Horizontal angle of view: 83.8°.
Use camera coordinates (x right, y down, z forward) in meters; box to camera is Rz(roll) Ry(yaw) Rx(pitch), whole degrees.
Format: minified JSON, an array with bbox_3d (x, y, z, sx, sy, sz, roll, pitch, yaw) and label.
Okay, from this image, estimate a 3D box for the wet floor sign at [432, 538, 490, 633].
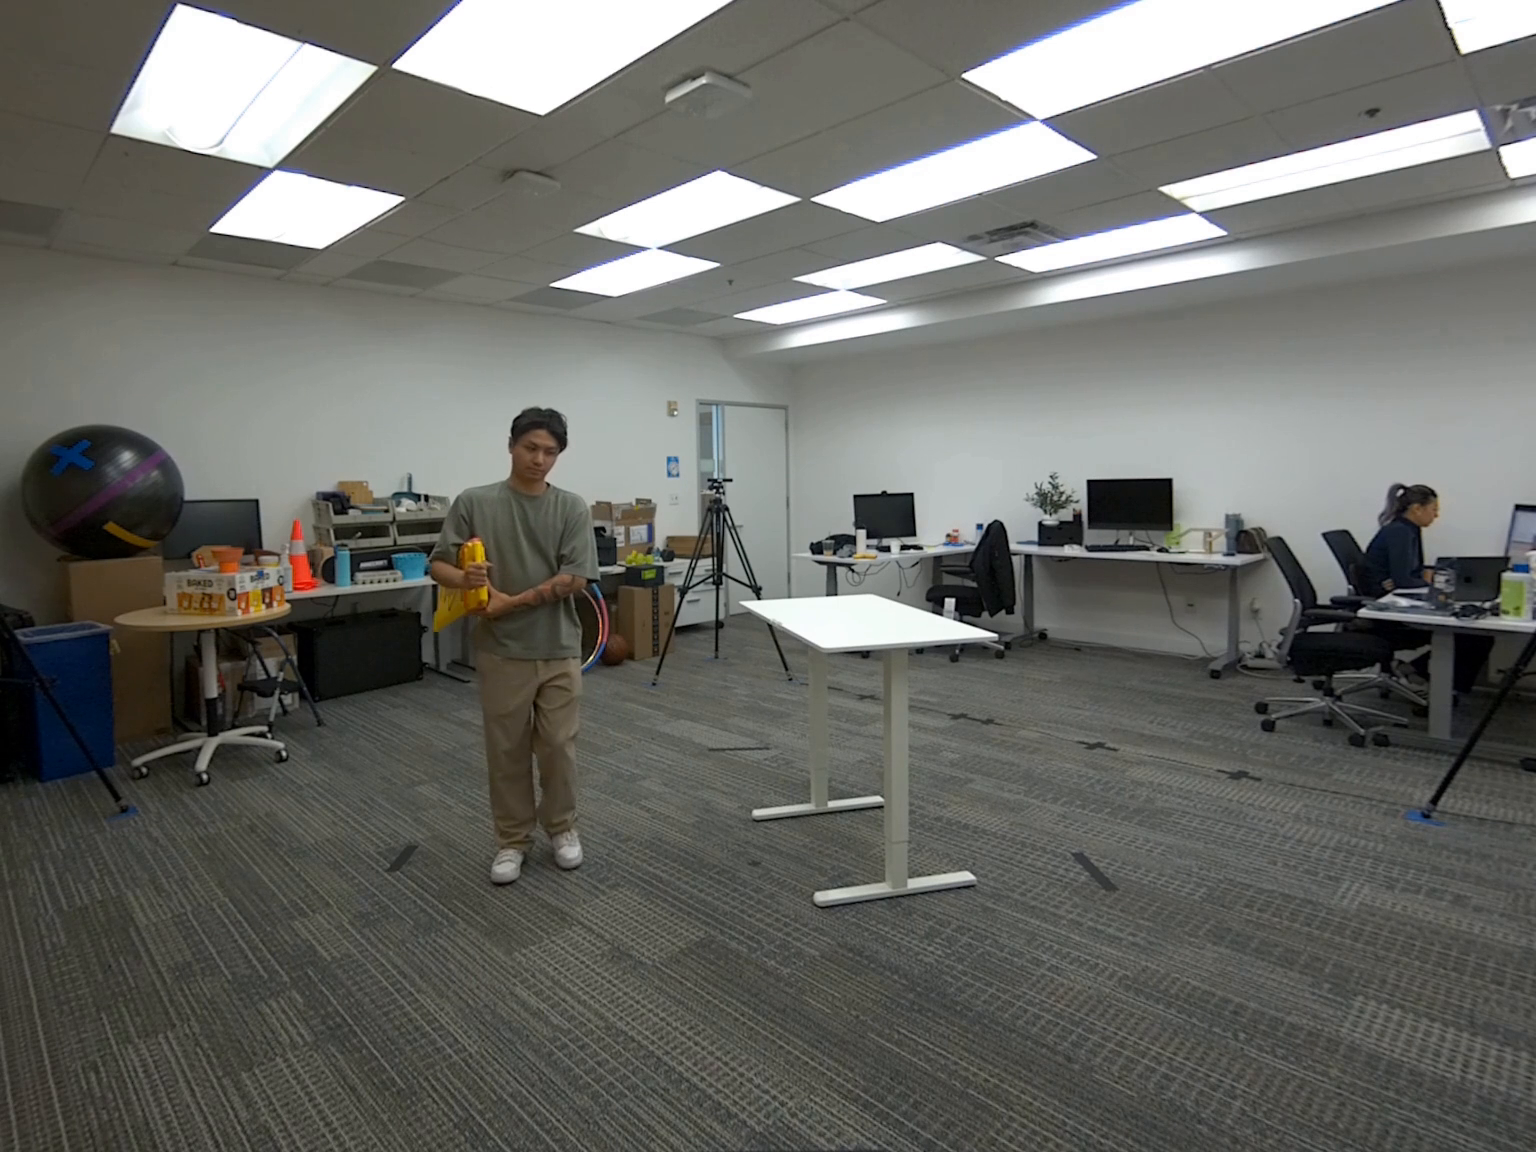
[{"bbox_3d":[-1.083,0.035,3.099,0.284,0.285,0.654,-3,-8,-26],"label":"wet floor sign"}]
